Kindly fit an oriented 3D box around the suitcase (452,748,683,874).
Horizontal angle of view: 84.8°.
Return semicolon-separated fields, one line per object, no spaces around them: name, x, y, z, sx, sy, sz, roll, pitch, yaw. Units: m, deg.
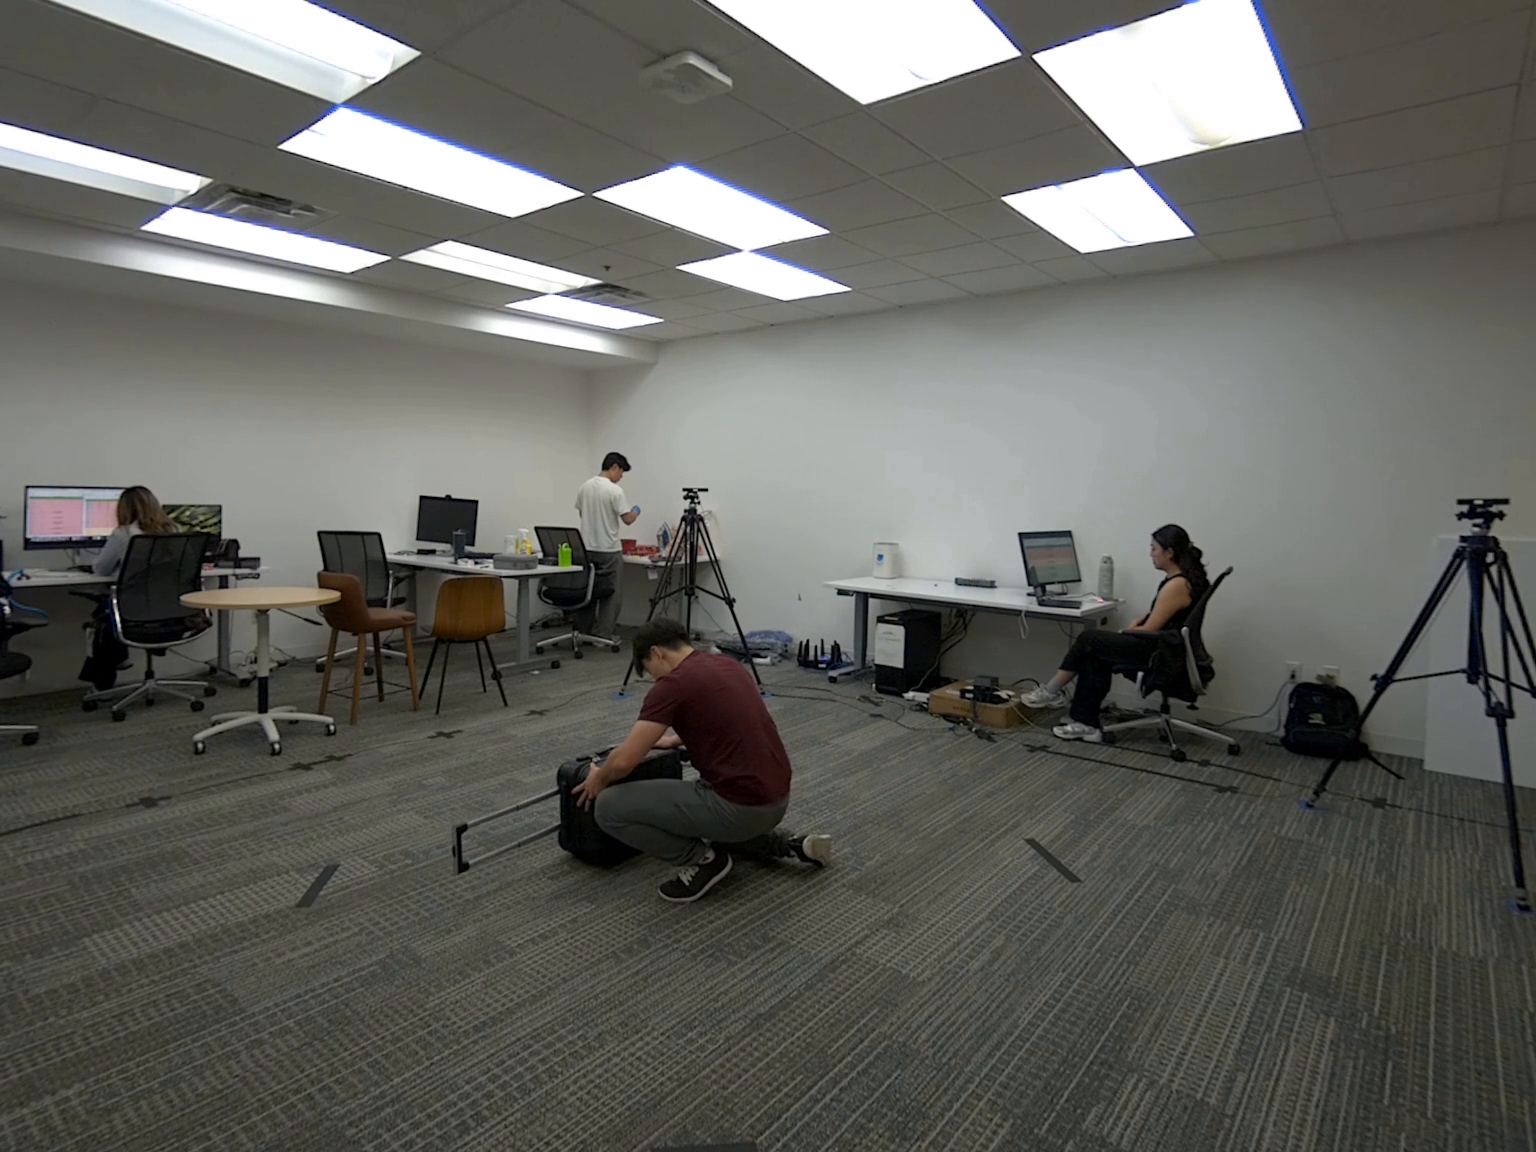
suitcase;-0.691;0.865;3.146;0.265;0.384;0.951;-1;2;35
